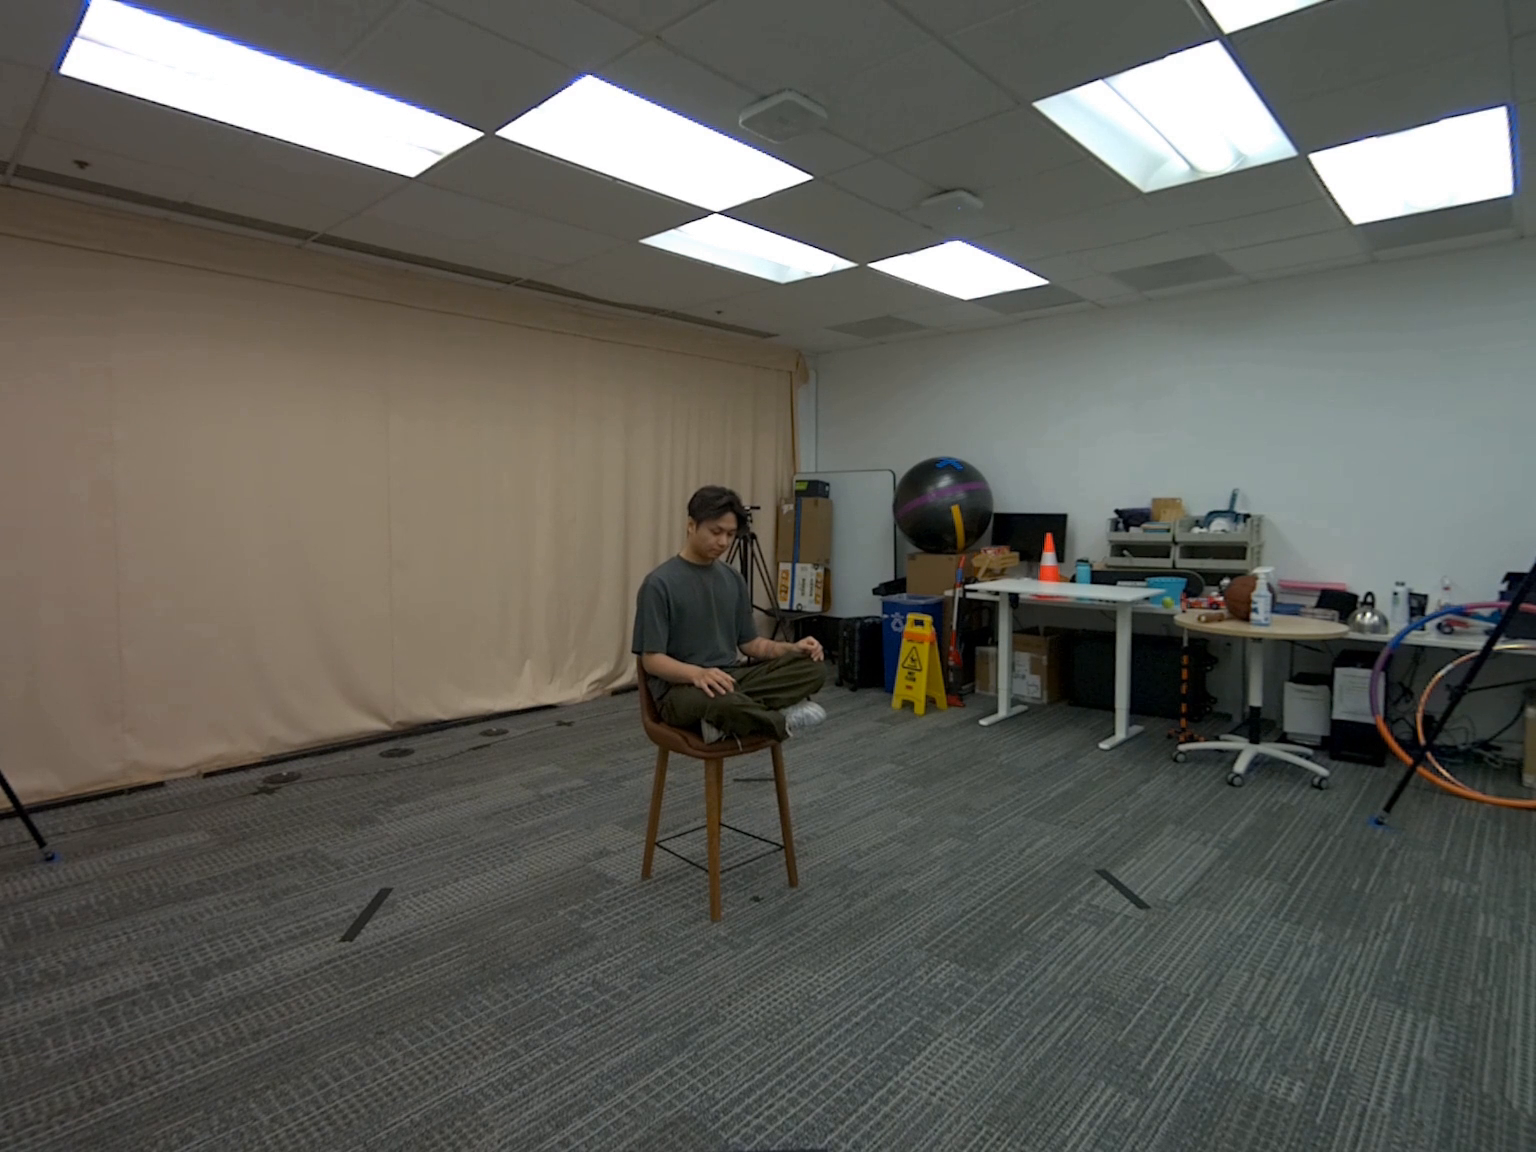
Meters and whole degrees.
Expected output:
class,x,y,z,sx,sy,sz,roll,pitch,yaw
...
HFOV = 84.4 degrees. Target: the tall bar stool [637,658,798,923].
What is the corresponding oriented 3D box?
class,x,y,z,sx,sy,sz,roll,pitch,yaw
tall bar stool,-0.196,0.700,3.103,0.442,0.889,0.482,-3,2,-43
